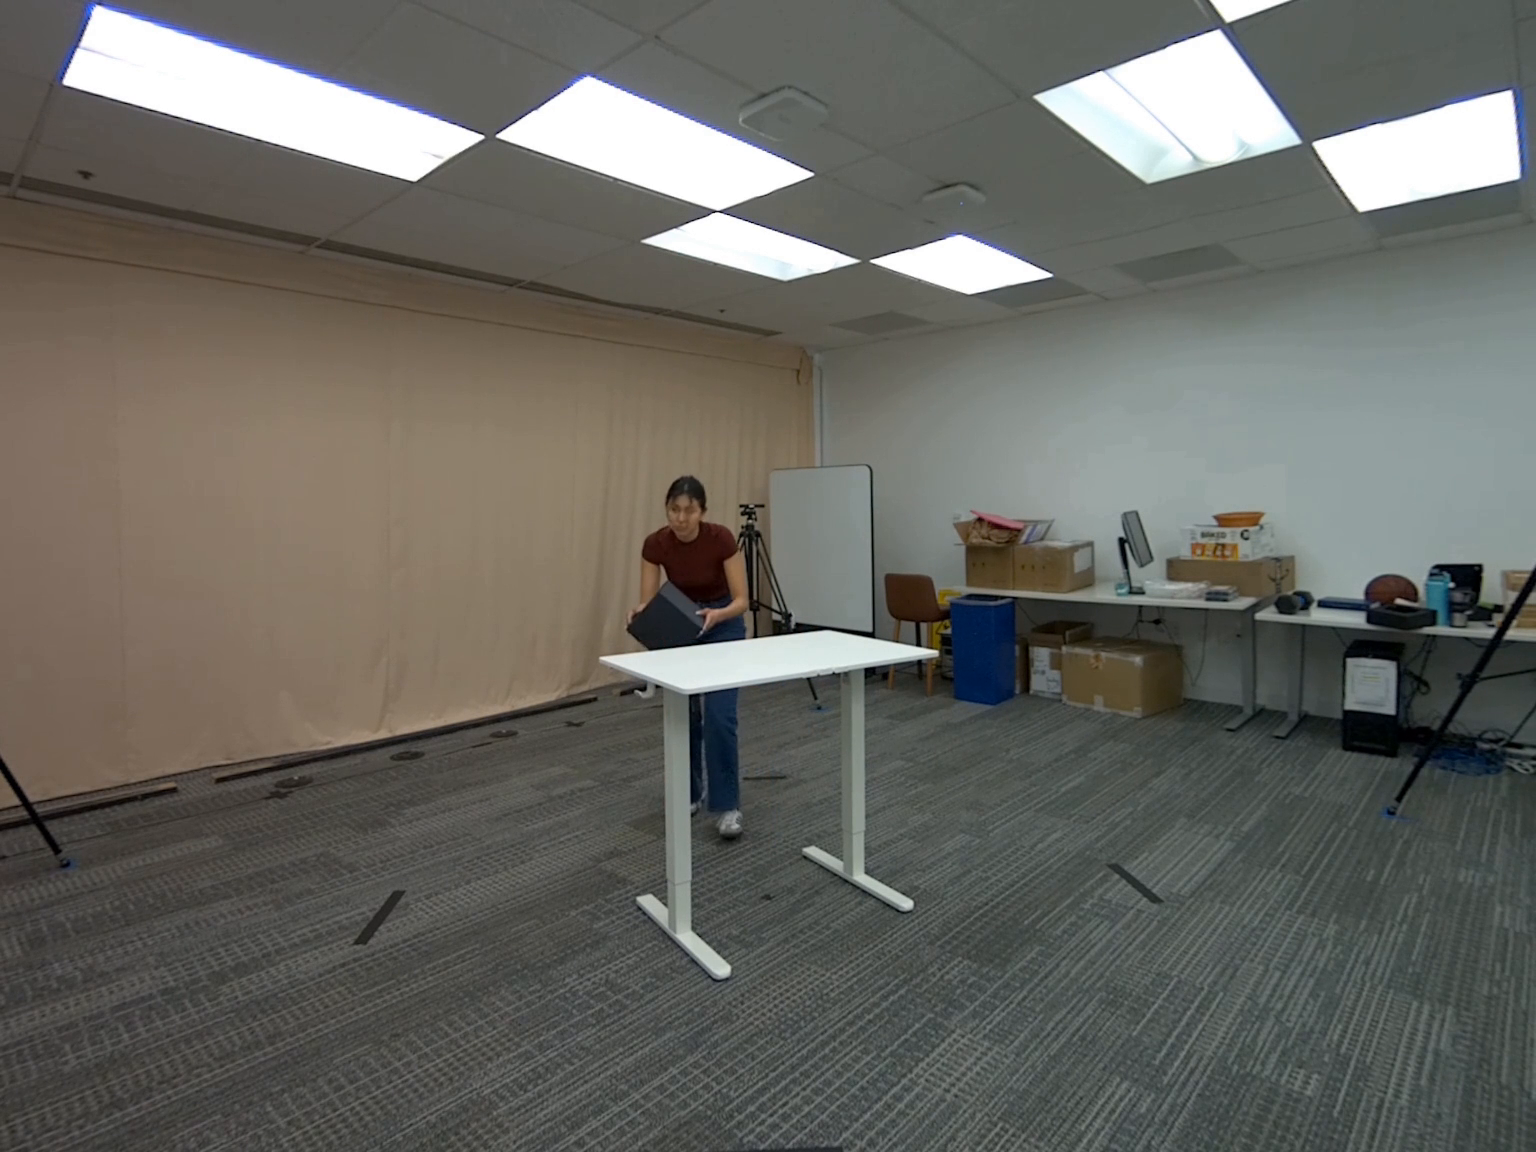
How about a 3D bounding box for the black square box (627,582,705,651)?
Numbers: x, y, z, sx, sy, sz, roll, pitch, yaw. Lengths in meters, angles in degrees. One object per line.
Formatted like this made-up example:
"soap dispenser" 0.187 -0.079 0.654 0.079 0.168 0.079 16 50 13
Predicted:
"black square box" -0.398 0.188 3.352 0.218 0.227 0.155 -44 3 15
